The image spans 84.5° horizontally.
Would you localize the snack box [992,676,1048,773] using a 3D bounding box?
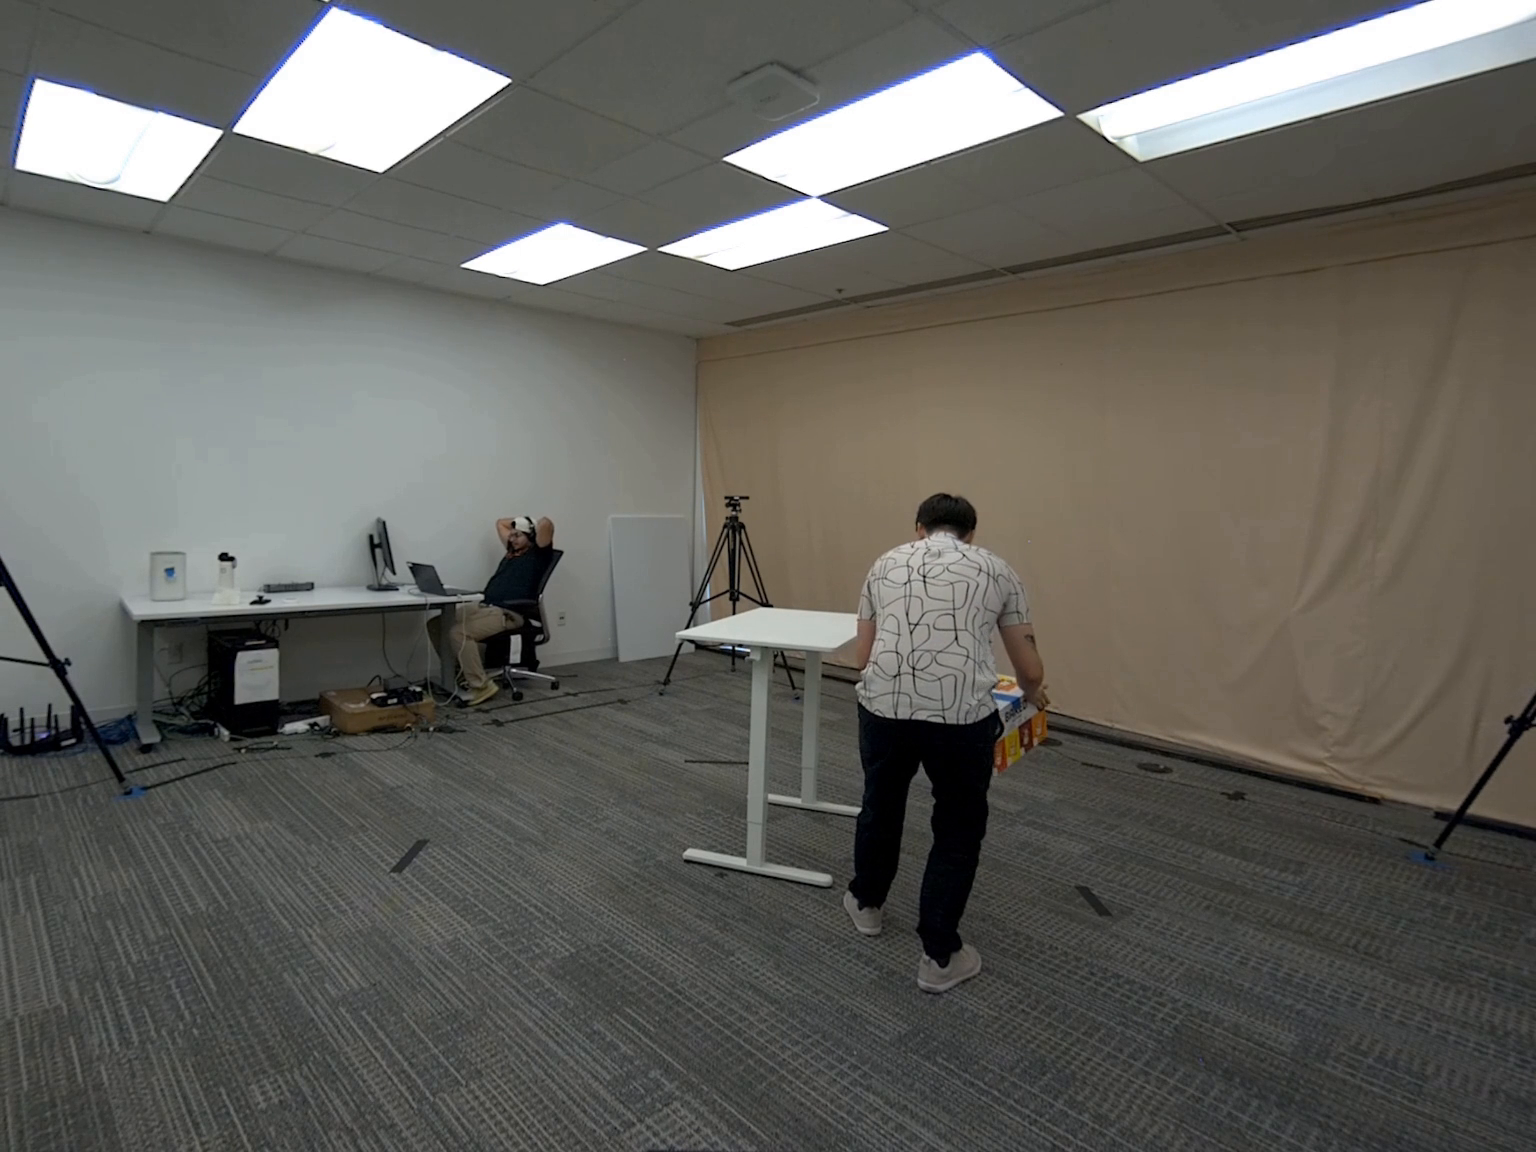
[{"bbox_3d":[0.686,0.490,2.918,0.335,0.203,0.416,-20,17,-38],"label":"snack box"}]
